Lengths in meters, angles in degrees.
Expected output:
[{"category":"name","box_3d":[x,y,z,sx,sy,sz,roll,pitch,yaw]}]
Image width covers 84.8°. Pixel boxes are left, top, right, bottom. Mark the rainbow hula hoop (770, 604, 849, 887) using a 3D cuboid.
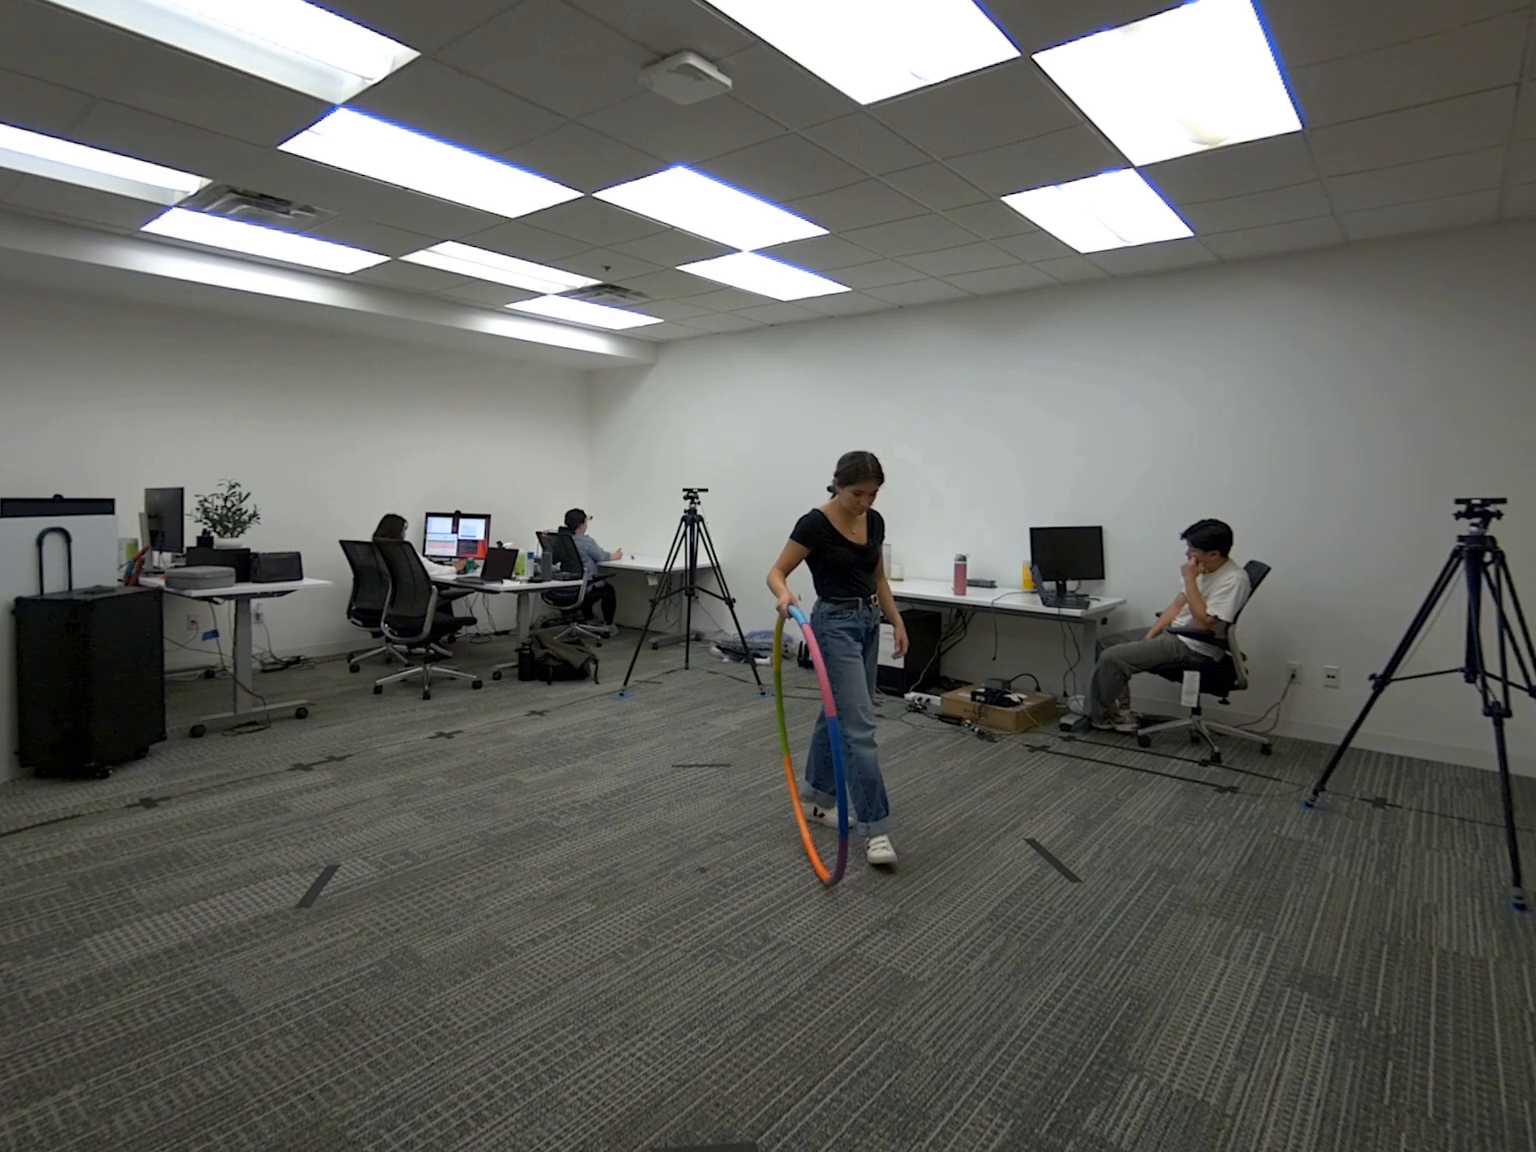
[{"category":"rainbow hula hoop","box_3d":[0.136,0.593,3.076,0.035,0.974,0.991,-7,5,-10]}]
